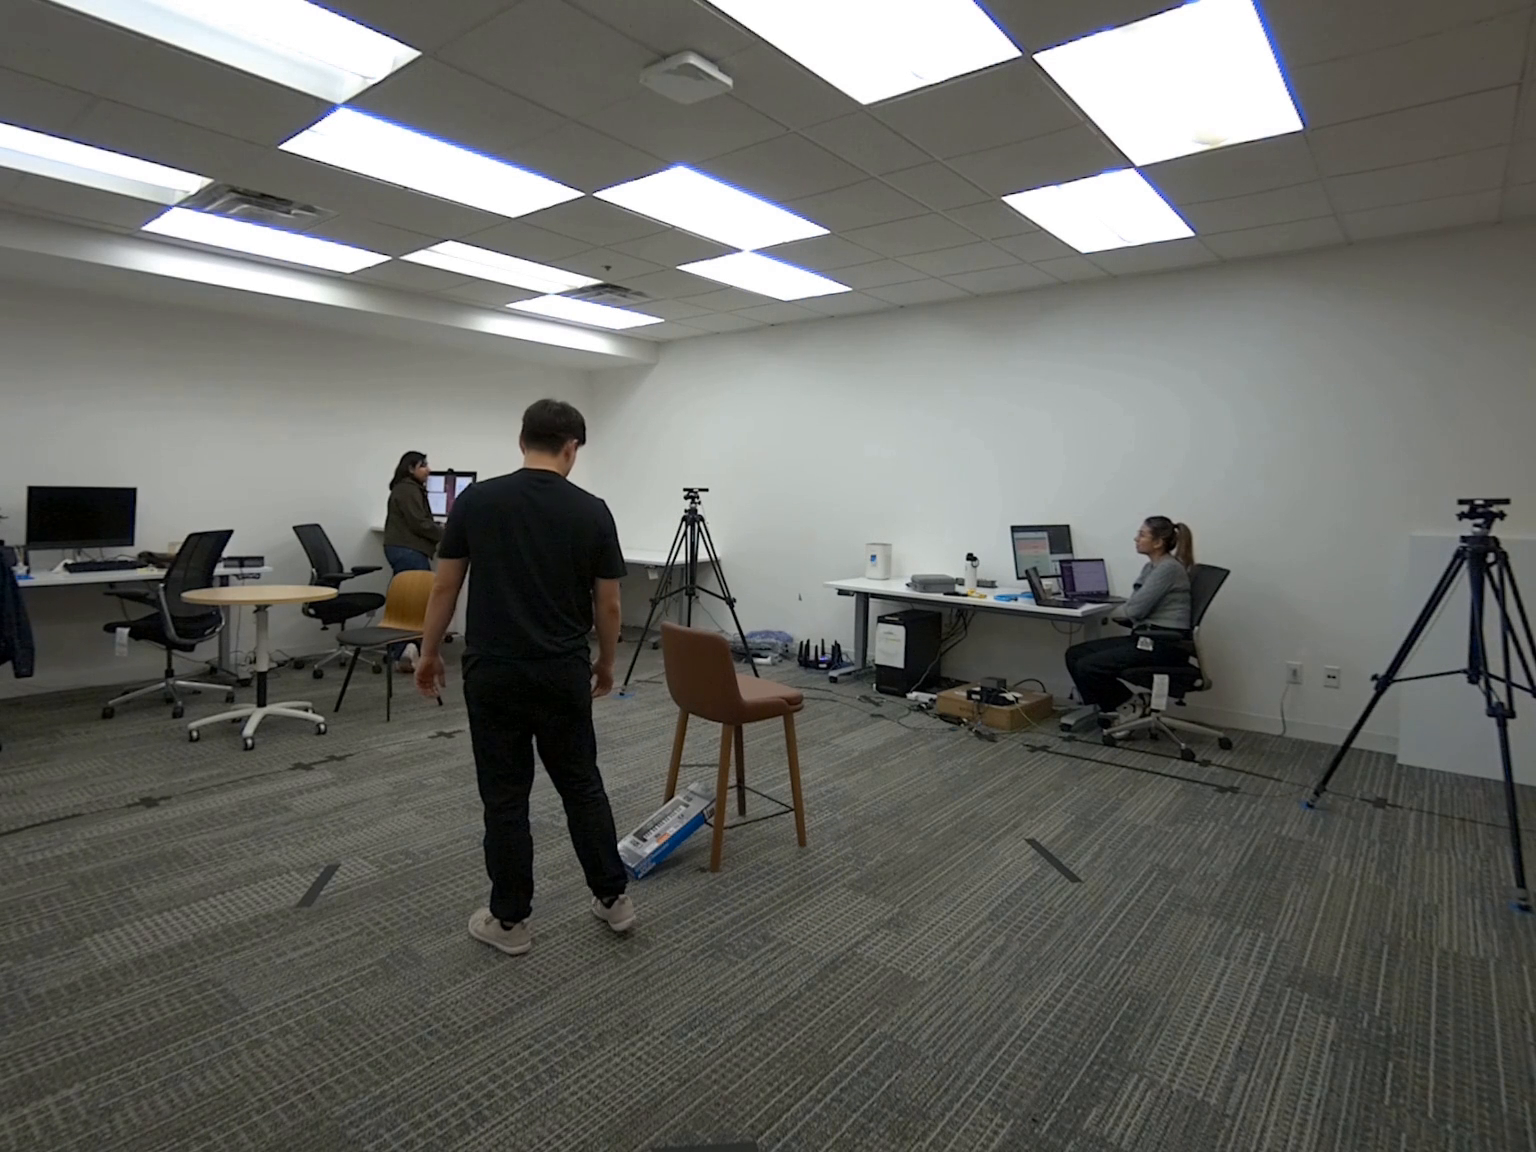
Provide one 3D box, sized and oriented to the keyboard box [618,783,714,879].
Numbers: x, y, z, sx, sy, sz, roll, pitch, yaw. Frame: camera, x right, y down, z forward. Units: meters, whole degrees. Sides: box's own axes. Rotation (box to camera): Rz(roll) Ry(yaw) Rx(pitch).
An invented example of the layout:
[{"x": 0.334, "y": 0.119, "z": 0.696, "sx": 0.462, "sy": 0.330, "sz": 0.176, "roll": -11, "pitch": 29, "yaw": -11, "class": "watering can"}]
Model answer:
[{"x": -0.383, "y": 0.946, "z": 3.177, "sx": 0.432, "sy": 0.058, "sz": 0.182, "roll": -34, "pitch": 25, "yaw": -33, "class": "keyboard box"}]
